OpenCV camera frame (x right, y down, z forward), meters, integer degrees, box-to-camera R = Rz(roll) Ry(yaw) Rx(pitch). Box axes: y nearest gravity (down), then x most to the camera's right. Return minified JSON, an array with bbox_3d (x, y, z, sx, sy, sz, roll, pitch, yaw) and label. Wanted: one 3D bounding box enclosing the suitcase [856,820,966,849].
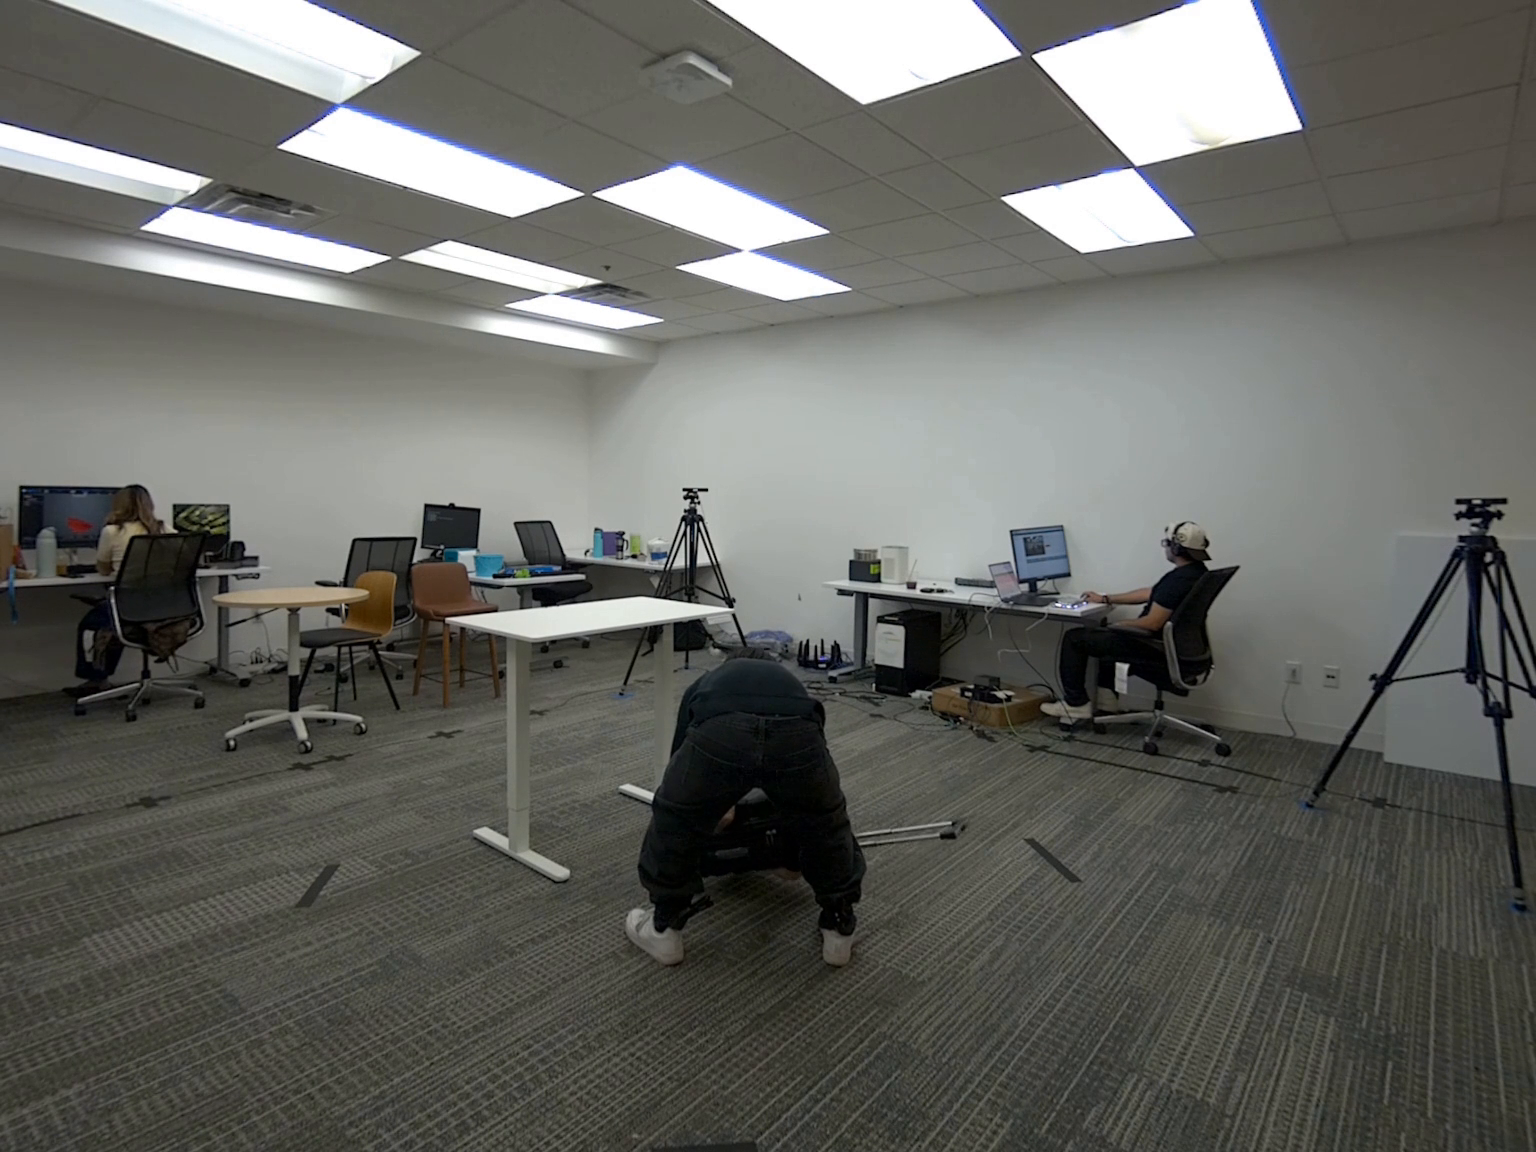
[{"bbox_3d":[0.135,0.793,2.868,0.995,0.260,0.373,-20,-10,29],"label":"suitcase"}]
